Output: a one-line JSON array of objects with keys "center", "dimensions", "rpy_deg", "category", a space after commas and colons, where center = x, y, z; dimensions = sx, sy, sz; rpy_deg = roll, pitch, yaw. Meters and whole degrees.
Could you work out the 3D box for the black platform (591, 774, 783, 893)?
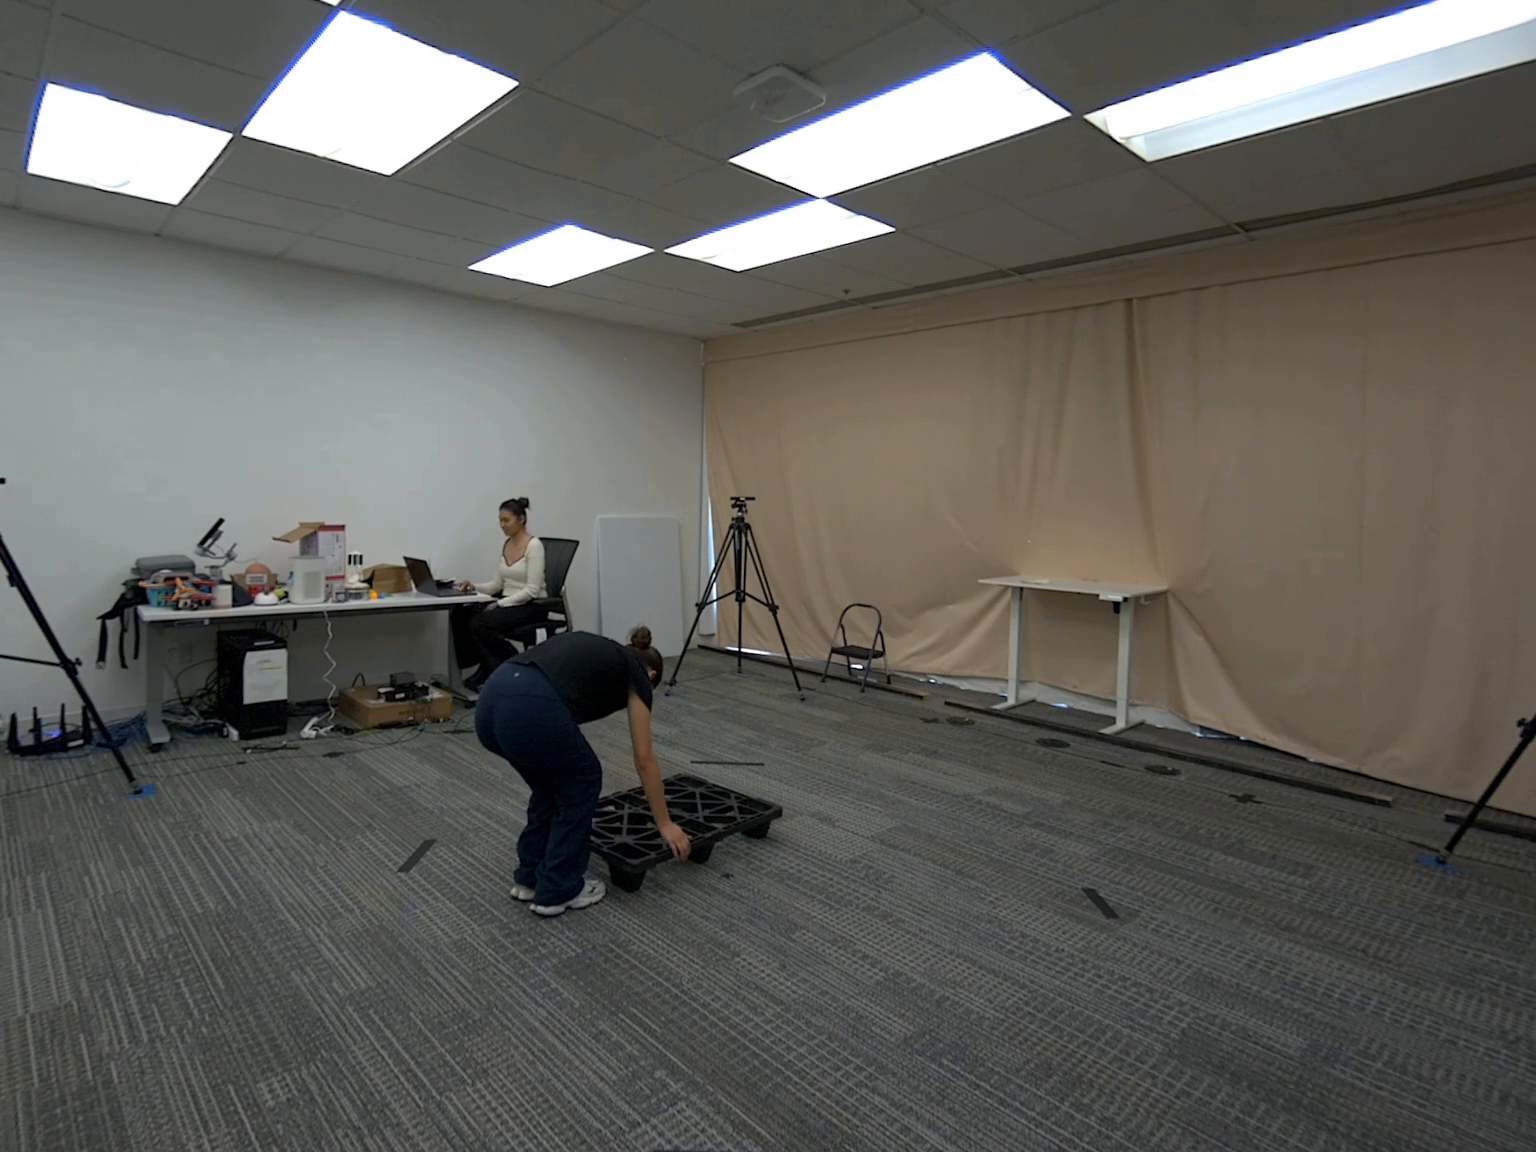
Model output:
[{"center": [-0.428, 1.013, 3.355], "dimensions": [0.620, 0.143, 0.787], "rpy_deg": [5, 6, 42], "category": "black platform"}]
